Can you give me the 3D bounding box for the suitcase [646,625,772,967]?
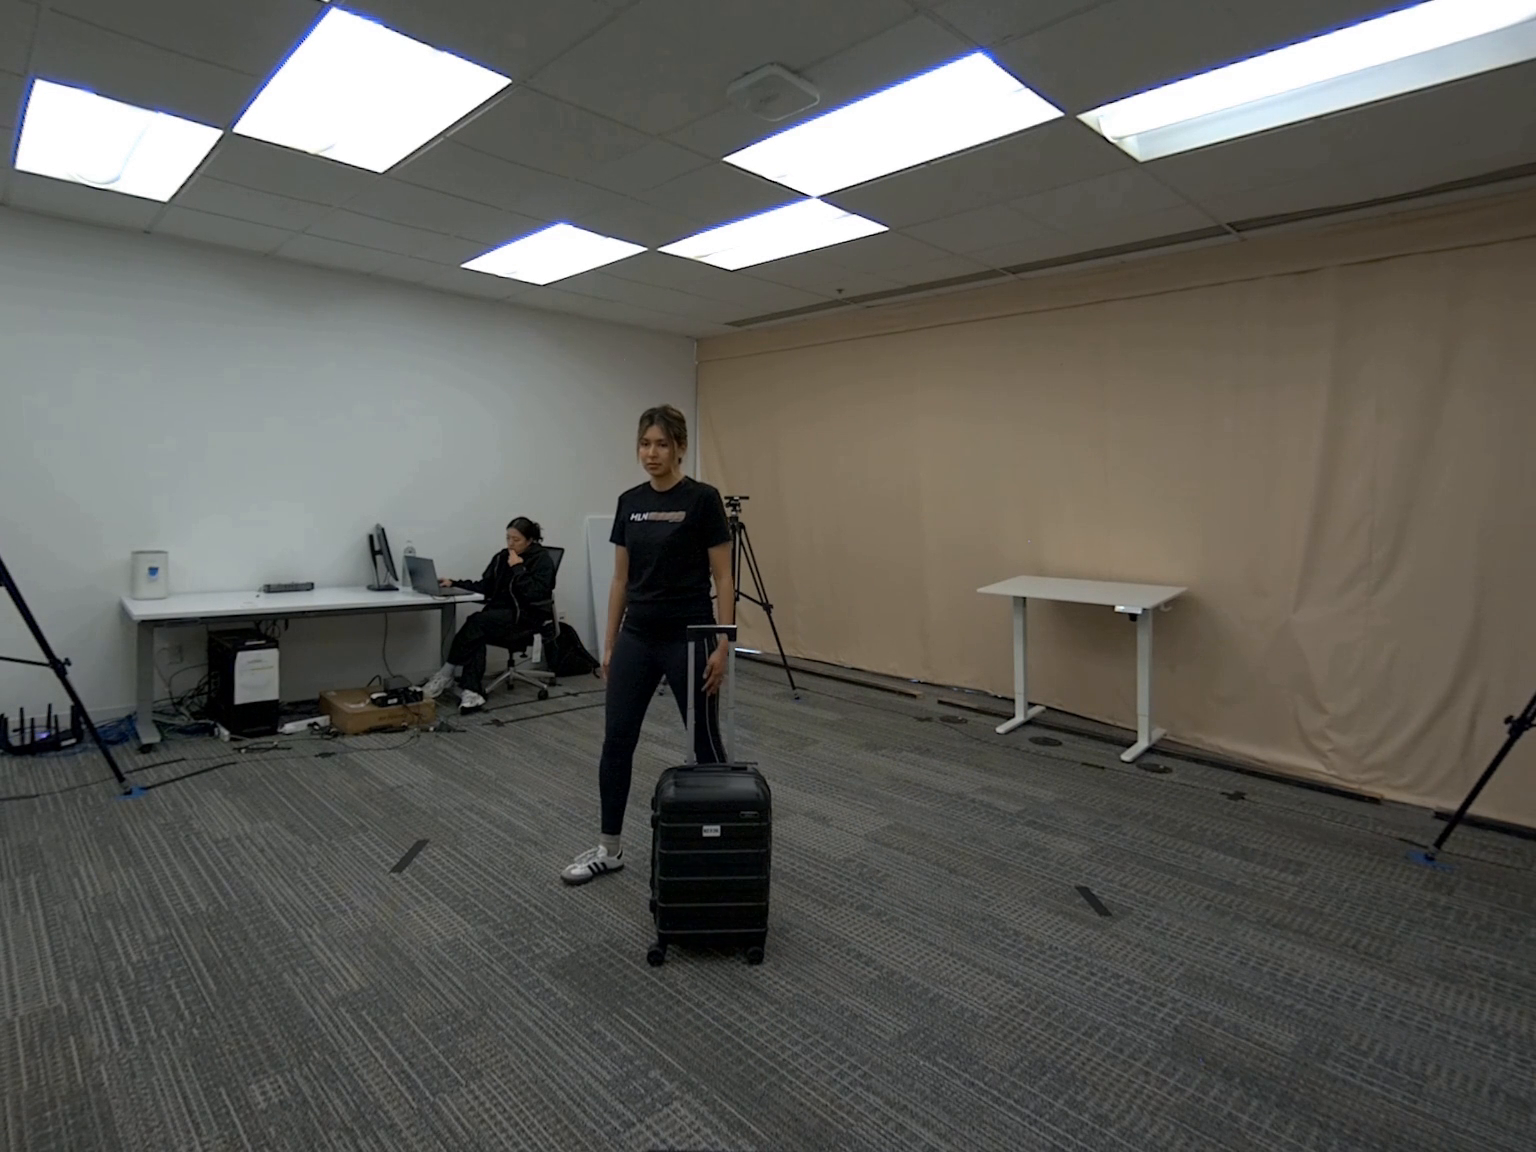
[{"bbox_3d":[-0.176,0.672,2.591,0.383,0.974,0.259,1,6,-3],"label":"suitcase"}]
